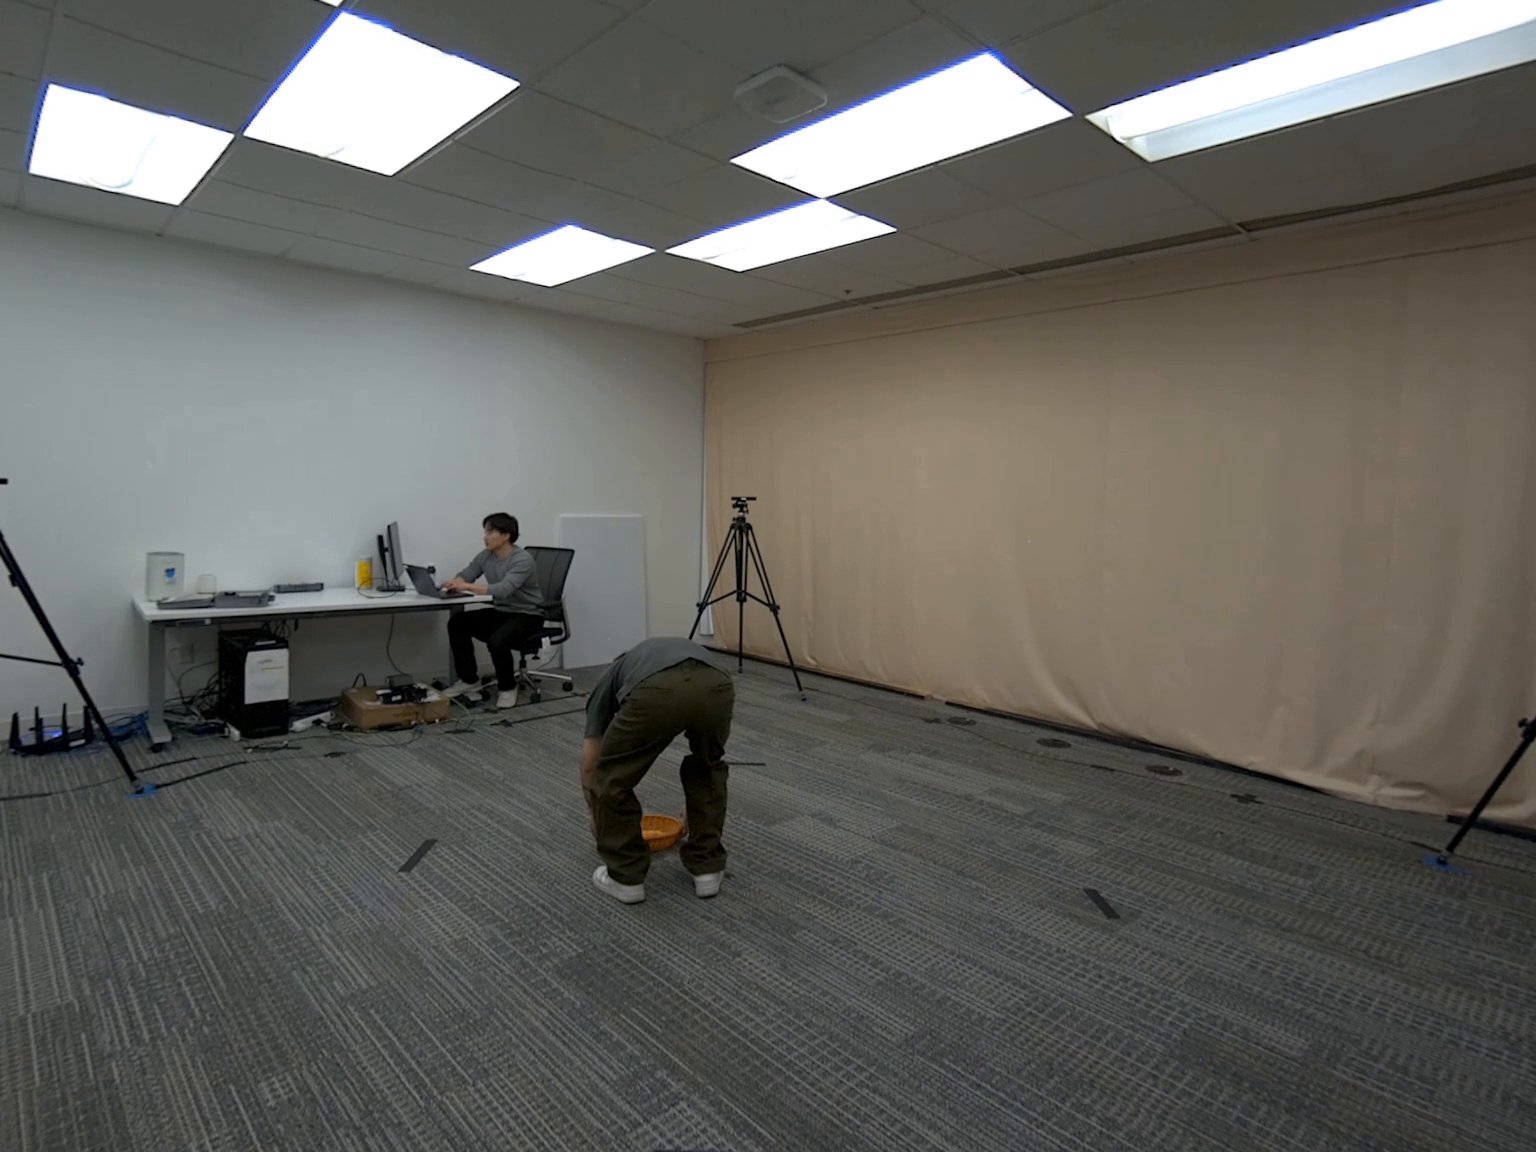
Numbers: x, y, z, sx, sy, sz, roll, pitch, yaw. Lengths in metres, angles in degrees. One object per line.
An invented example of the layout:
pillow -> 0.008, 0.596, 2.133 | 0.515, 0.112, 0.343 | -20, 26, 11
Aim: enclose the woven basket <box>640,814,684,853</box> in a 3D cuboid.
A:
woven basket -> -0.519, 1.033, 3.372 | 0.344, 0.073, 0.257 | -1, 5, -24
